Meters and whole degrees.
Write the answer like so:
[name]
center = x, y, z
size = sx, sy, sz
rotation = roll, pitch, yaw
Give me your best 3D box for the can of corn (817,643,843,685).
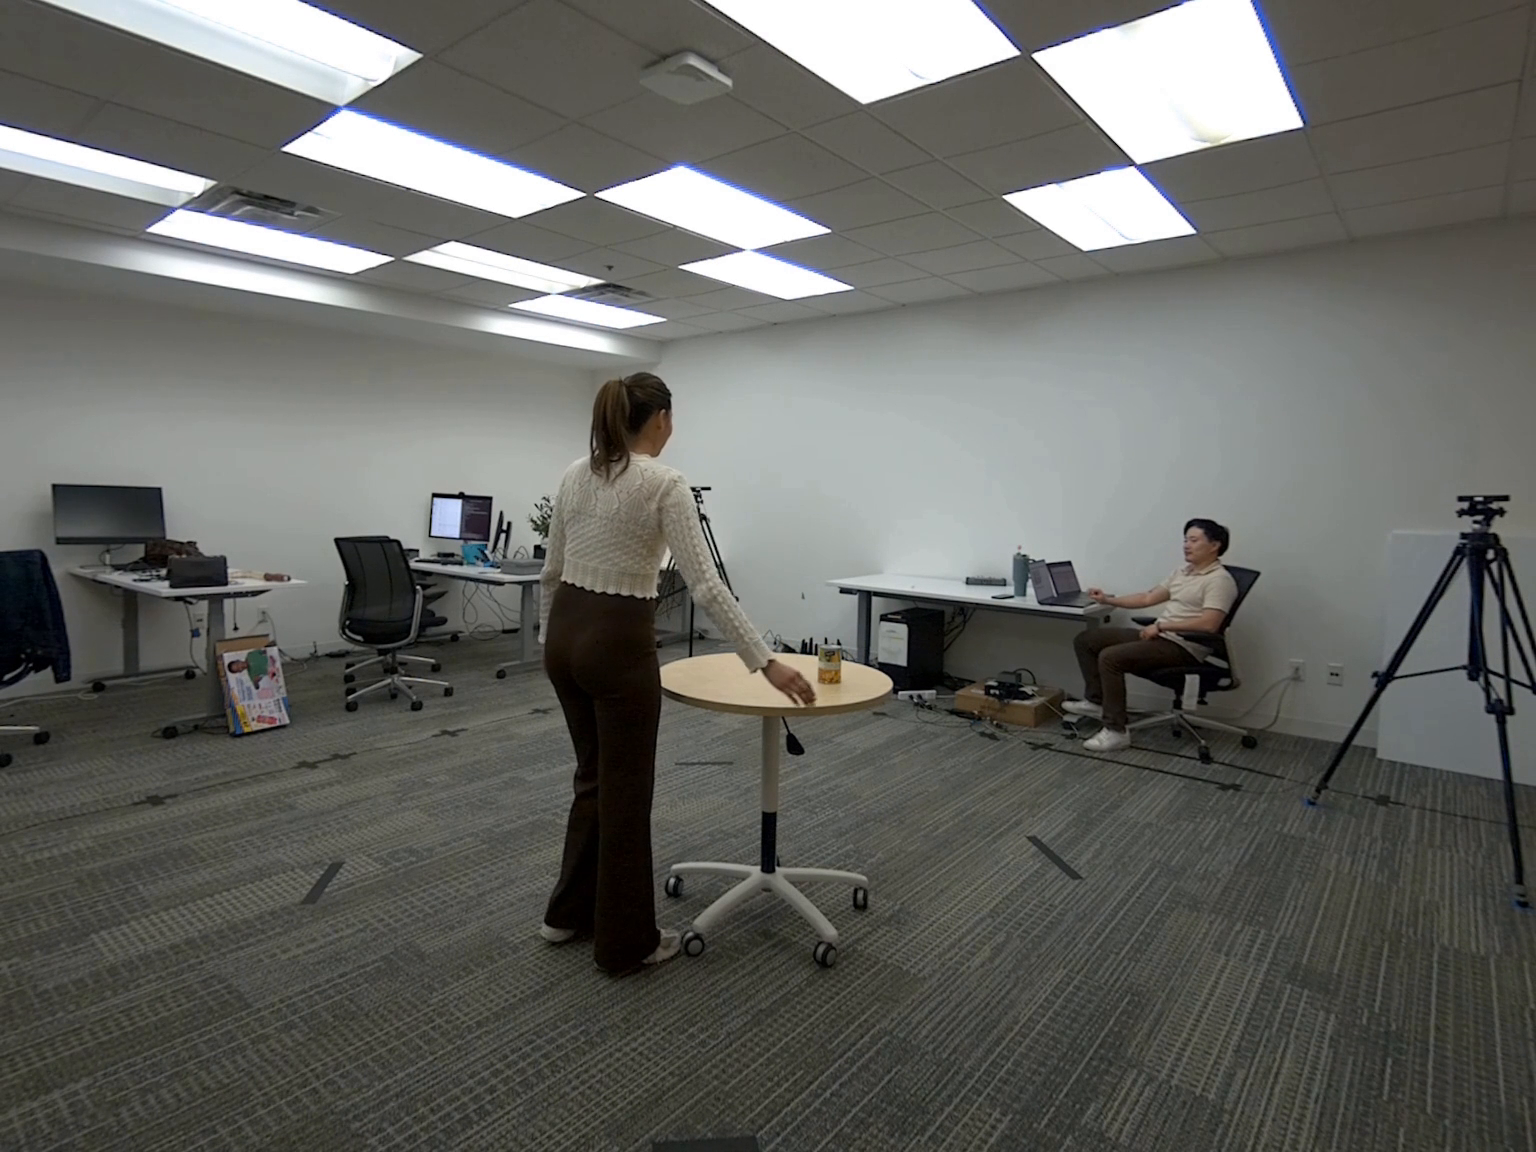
[can of corn]
center = 0.188, 0.280, 2.683
size = 0.074, 0.110, 0.075
rotation = 1, 6, -2
